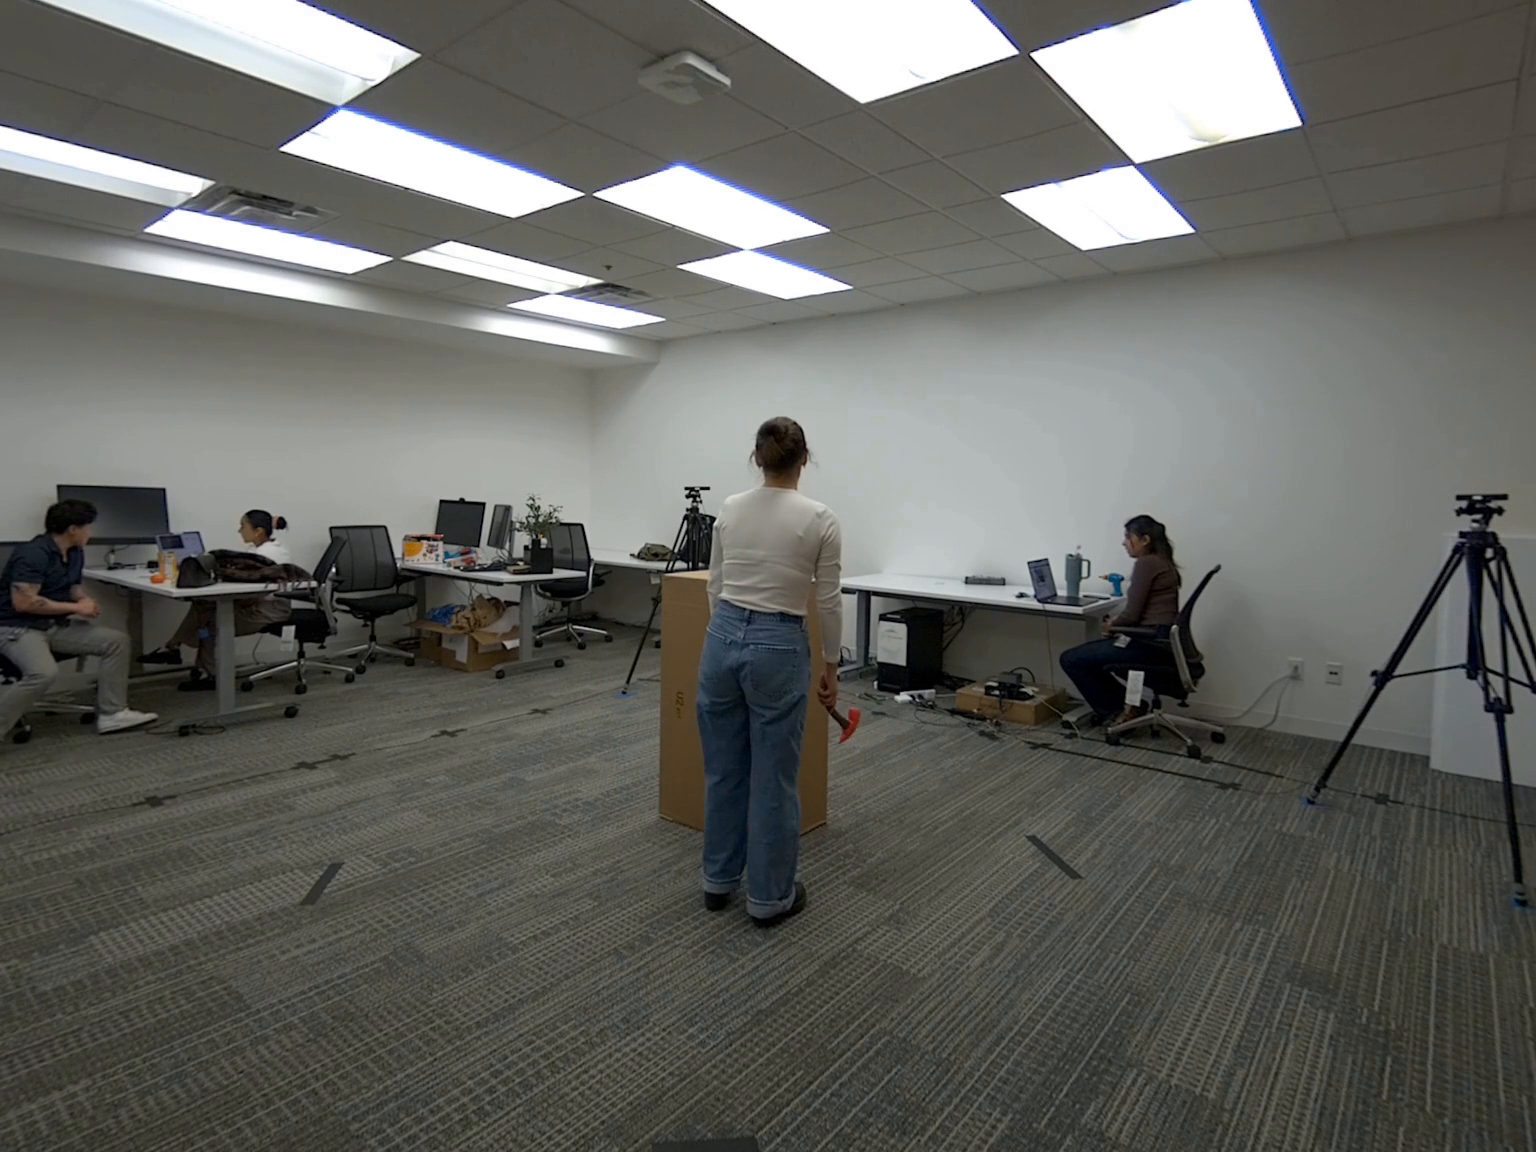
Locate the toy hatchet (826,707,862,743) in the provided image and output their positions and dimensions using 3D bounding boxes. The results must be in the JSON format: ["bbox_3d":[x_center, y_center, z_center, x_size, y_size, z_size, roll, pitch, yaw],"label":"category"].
[{"bbox_3d":[0.243,0.450,2.876,0.130,0.260,0.031,-40,35,-19],"label":"toy hatchet"}]
